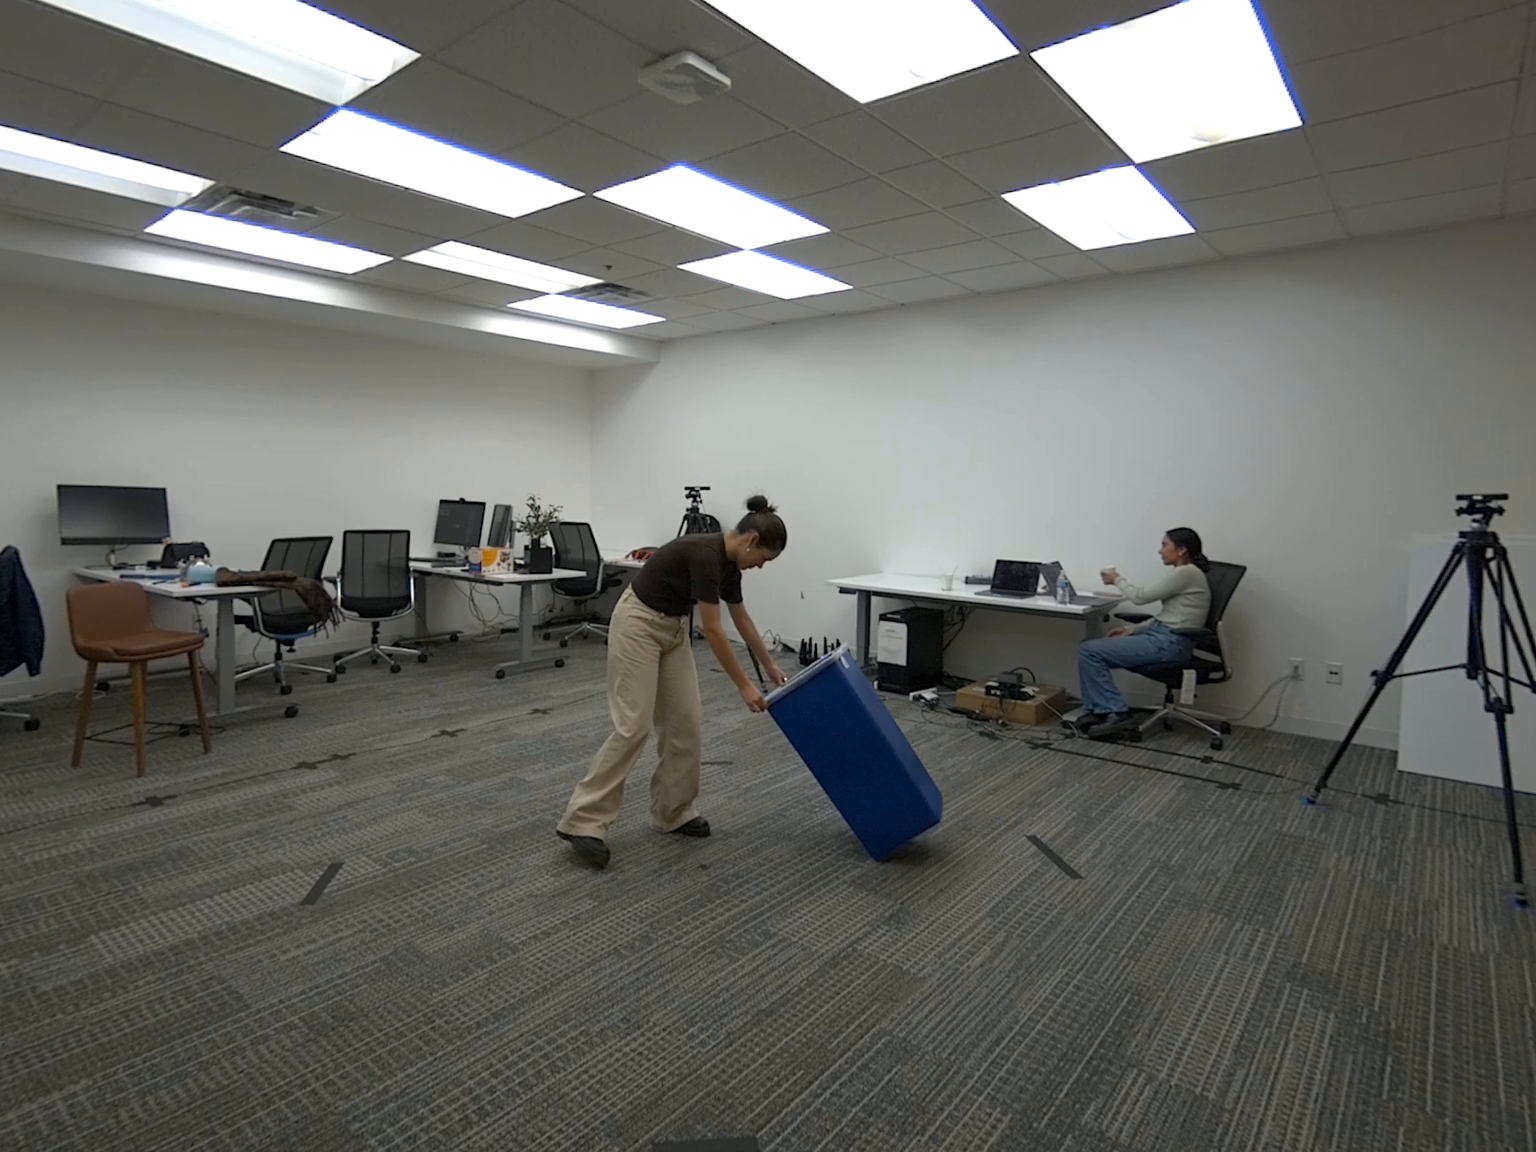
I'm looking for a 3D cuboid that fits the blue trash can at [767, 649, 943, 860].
[{"bbox_3d":[0.320,0.680,3.331,0.375,0.723,0.372,-35,-8,13],"label":"blue trash can"}]
